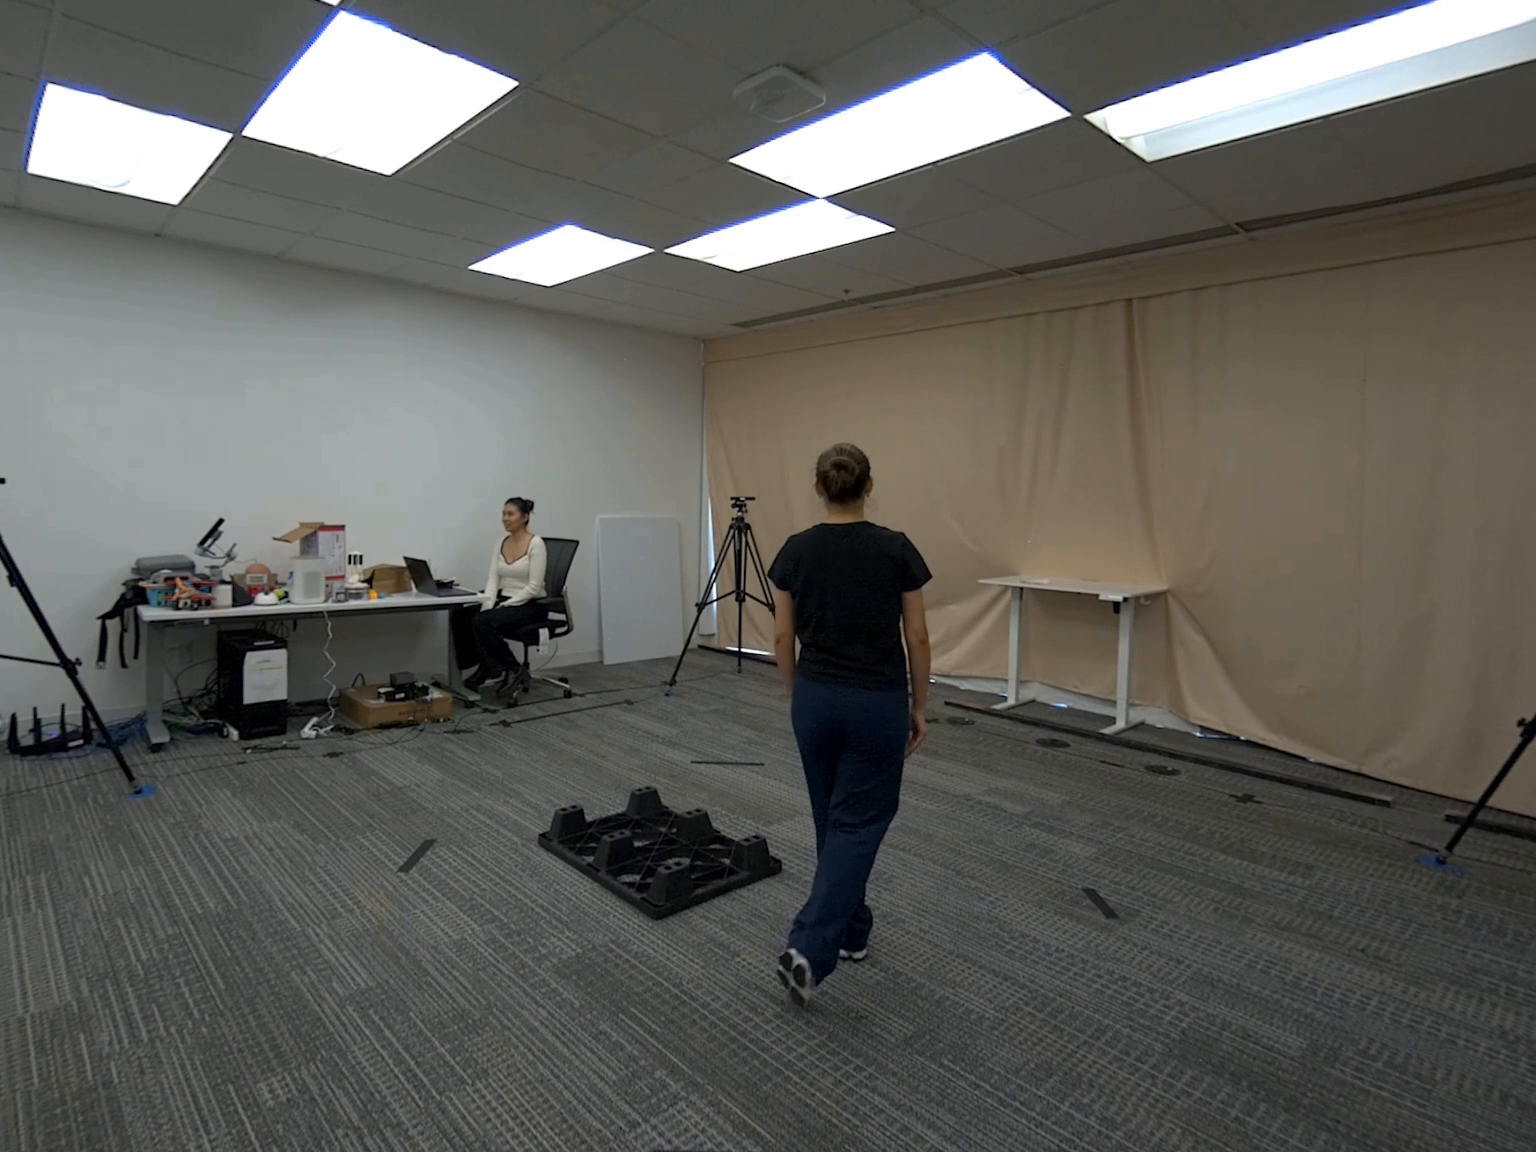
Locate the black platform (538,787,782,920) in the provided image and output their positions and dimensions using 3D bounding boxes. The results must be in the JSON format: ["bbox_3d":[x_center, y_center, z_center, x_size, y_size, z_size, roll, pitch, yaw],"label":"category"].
[{"bbox_3d":[-0.437,1.022,3.232,0.591,0.143,0.826,-3,6,-43],"label":"black platform"}]
